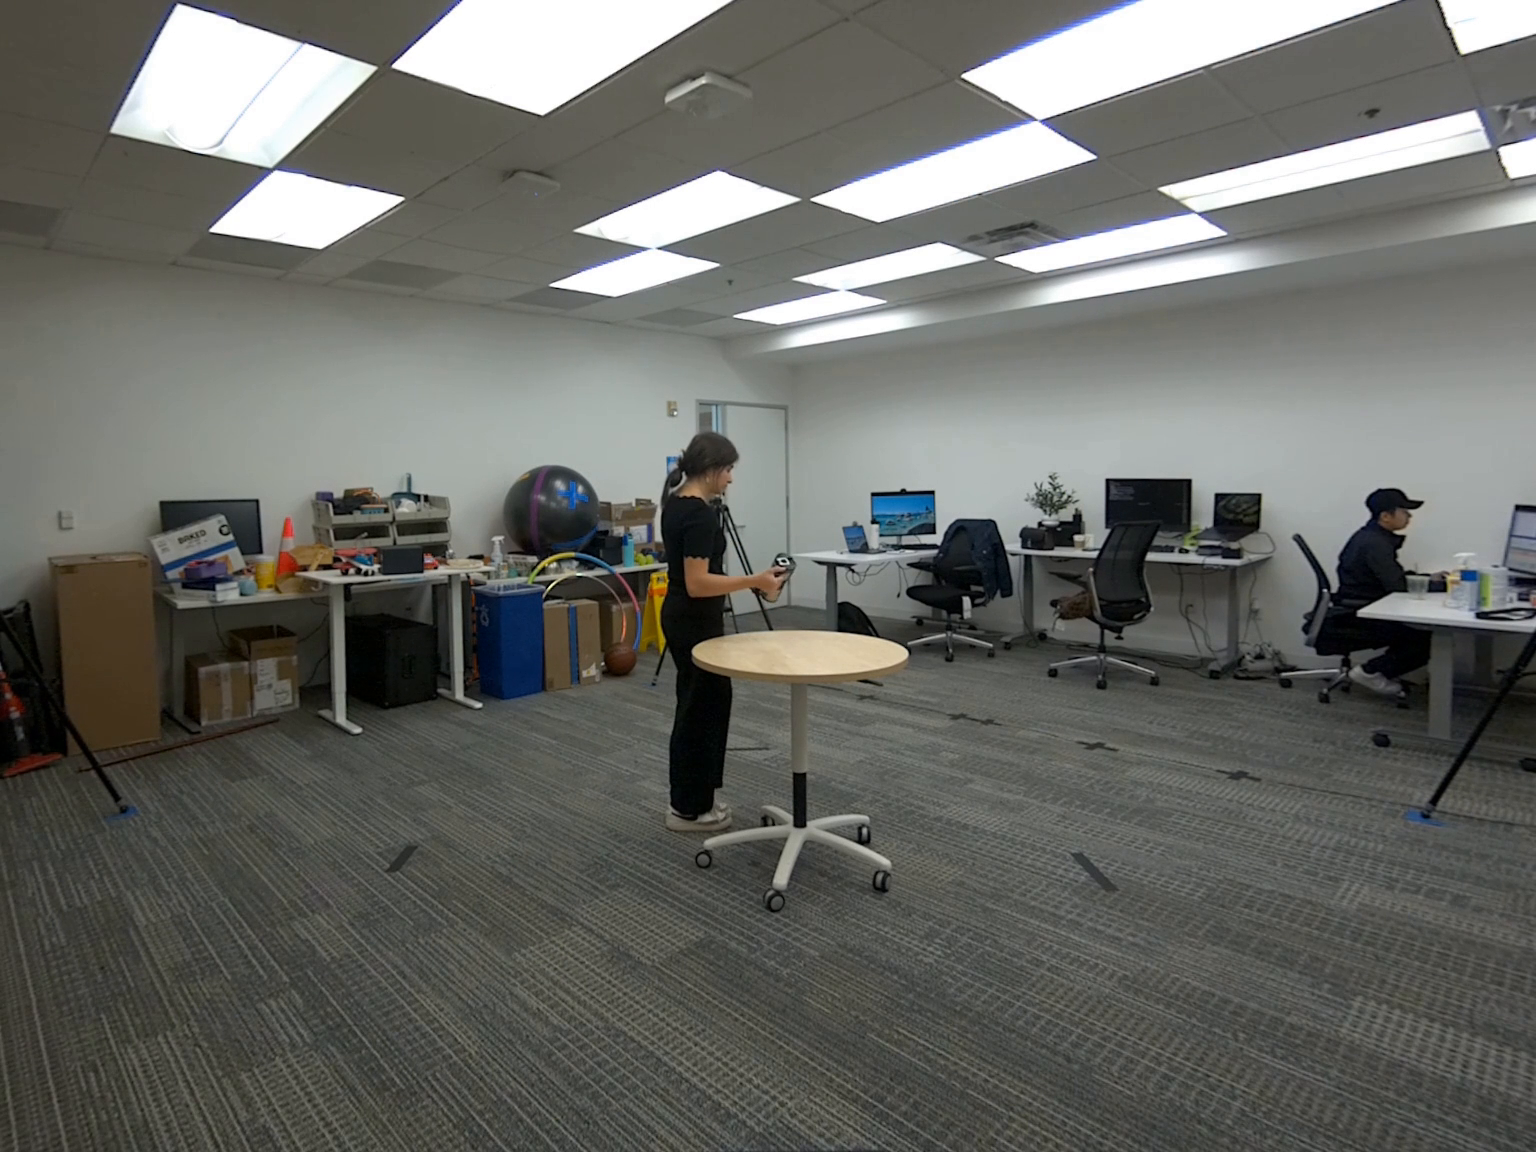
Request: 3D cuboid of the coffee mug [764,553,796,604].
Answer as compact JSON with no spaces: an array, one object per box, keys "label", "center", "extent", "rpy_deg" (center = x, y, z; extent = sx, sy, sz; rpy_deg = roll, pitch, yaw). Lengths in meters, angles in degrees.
[{"label":"coffee mug","center":[0.021,0.018,3.267],"extent":[0.119,0.201,0.090],"rpy_deg":[-17,57,-41]}]
